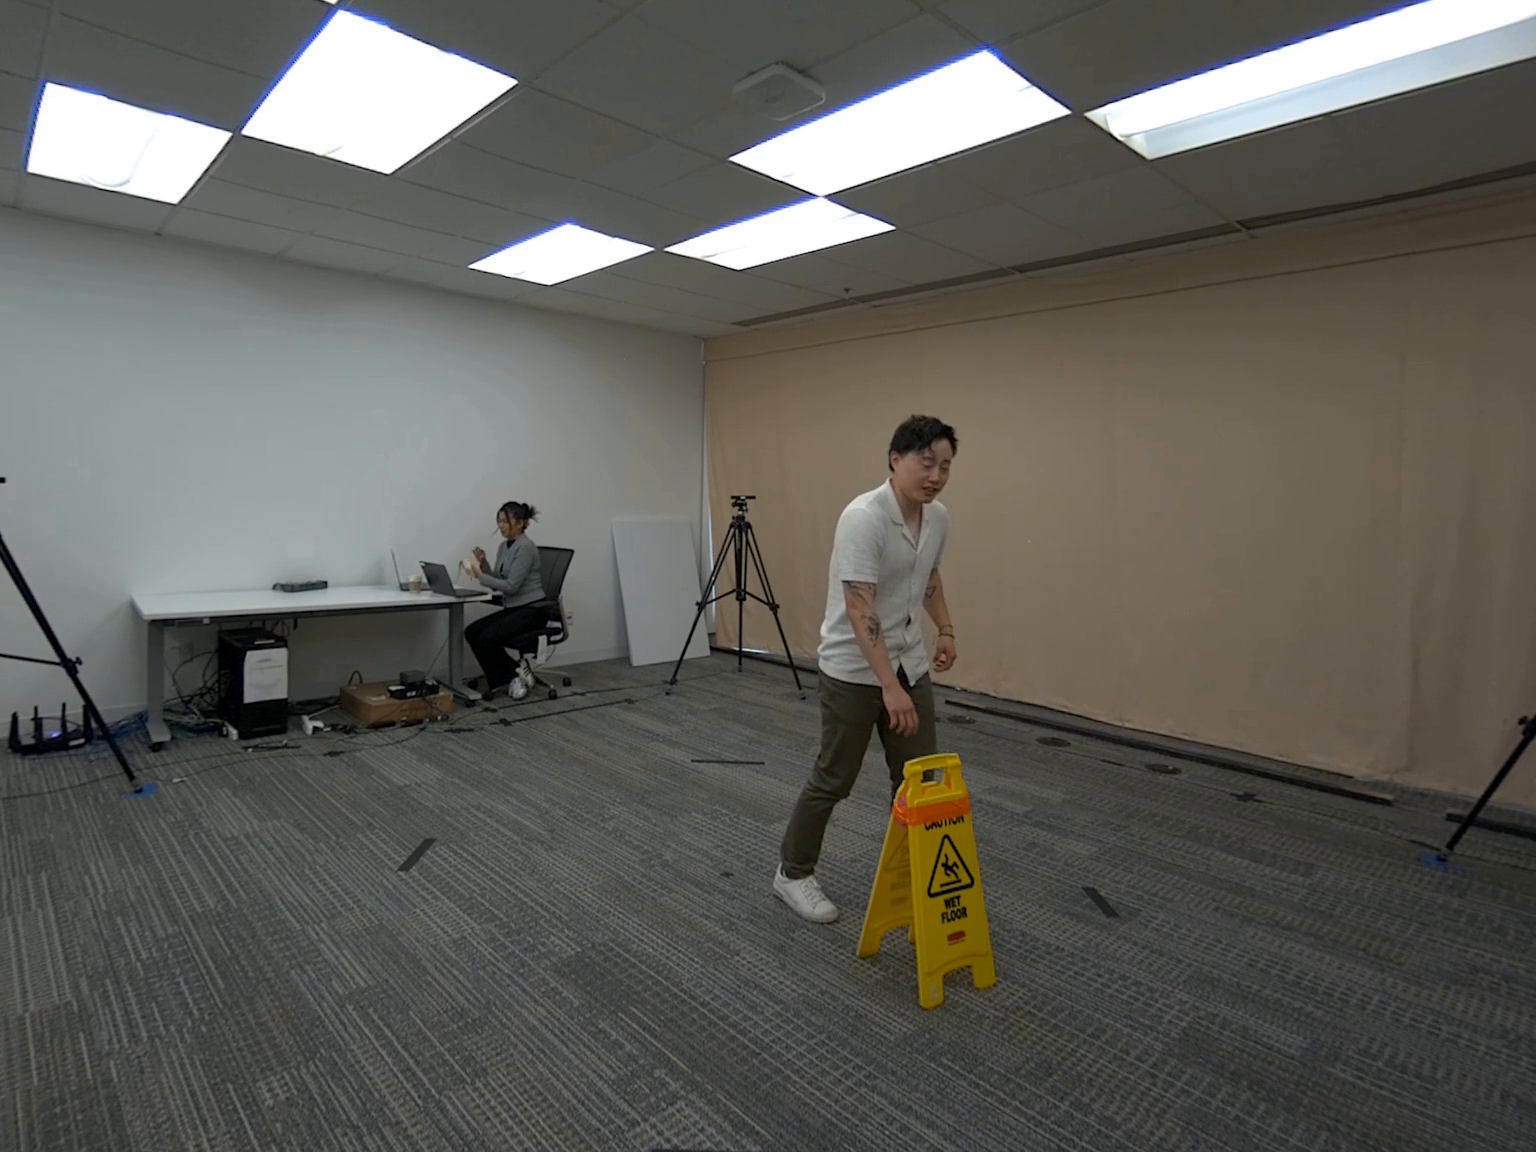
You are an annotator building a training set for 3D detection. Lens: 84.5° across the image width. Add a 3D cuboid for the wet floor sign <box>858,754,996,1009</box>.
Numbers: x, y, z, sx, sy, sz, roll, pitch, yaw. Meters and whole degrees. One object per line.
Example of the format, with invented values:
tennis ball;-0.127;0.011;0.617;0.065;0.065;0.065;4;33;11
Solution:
wet floor sign;0.466;0.854;2.482;0.276;0.645;0.296;0;4;-31
